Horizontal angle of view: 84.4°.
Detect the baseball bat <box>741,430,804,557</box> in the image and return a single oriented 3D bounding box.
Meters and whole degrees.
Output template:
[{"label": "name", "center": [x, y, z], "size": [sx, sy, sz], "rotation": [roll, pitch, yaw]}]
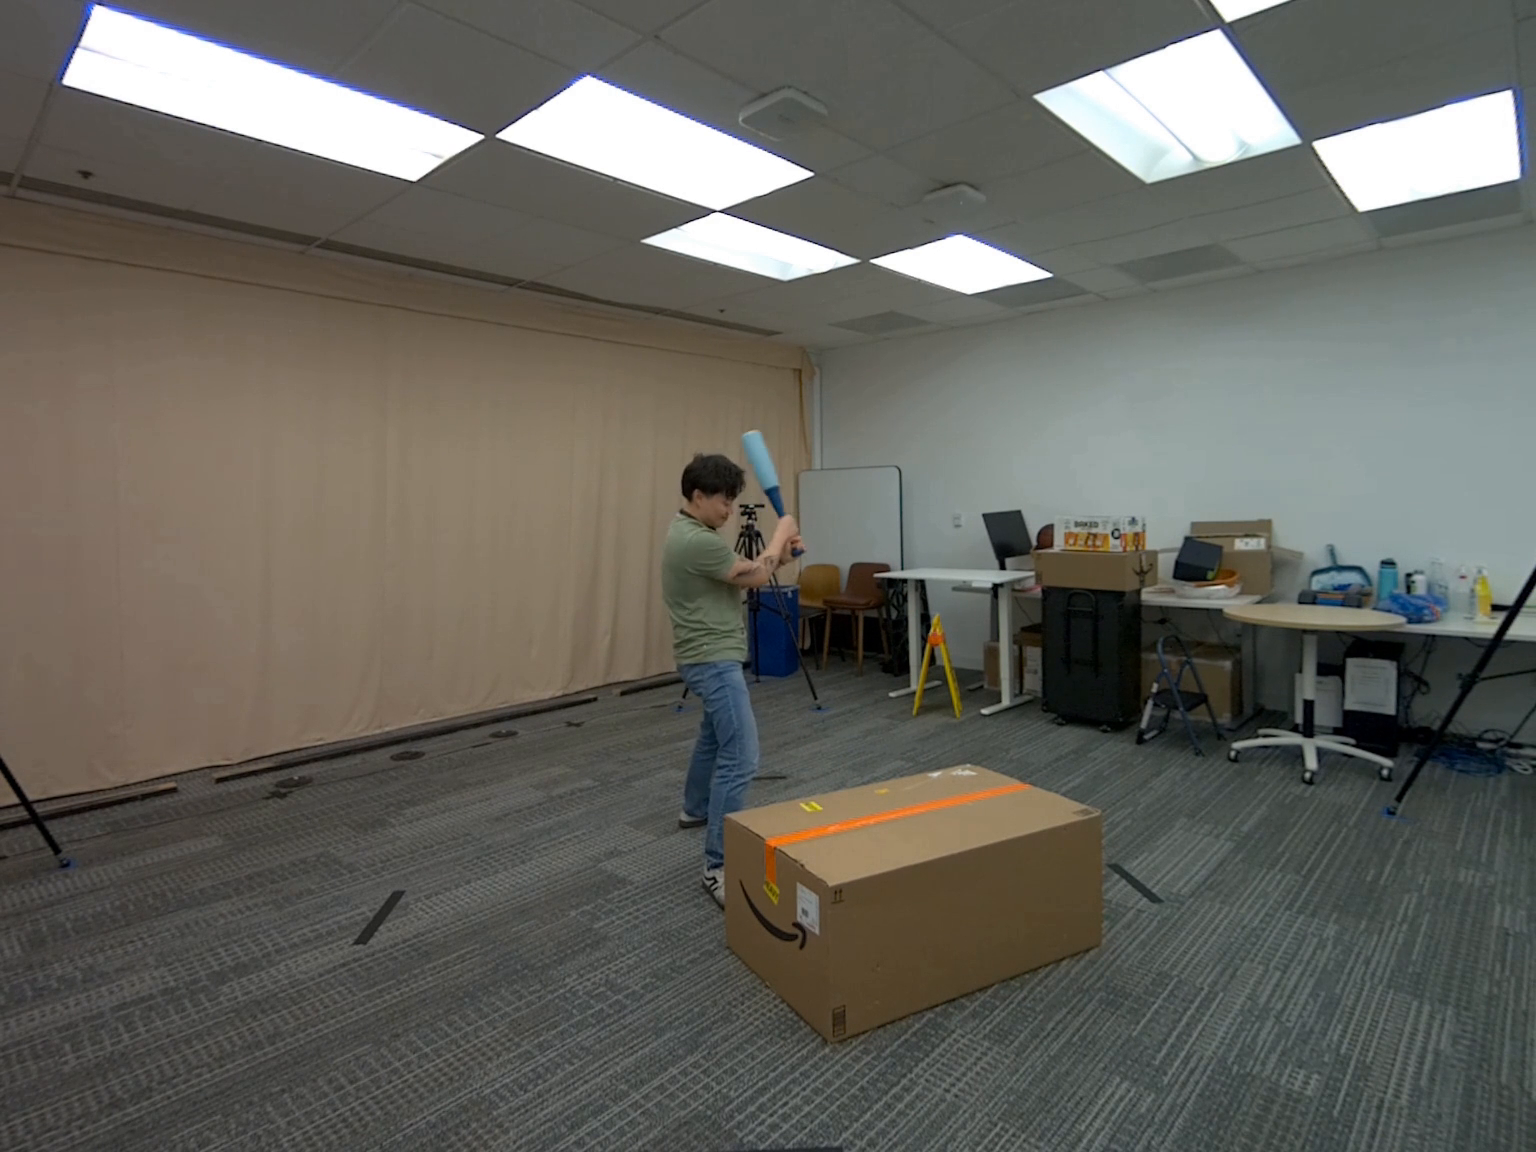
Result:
[{"label": "baseball bat", "center": [0.014, -0.296, 3.382], "size": [0.089, 0.547, 0.088], "rotation": [-20, -8, -5]}]
